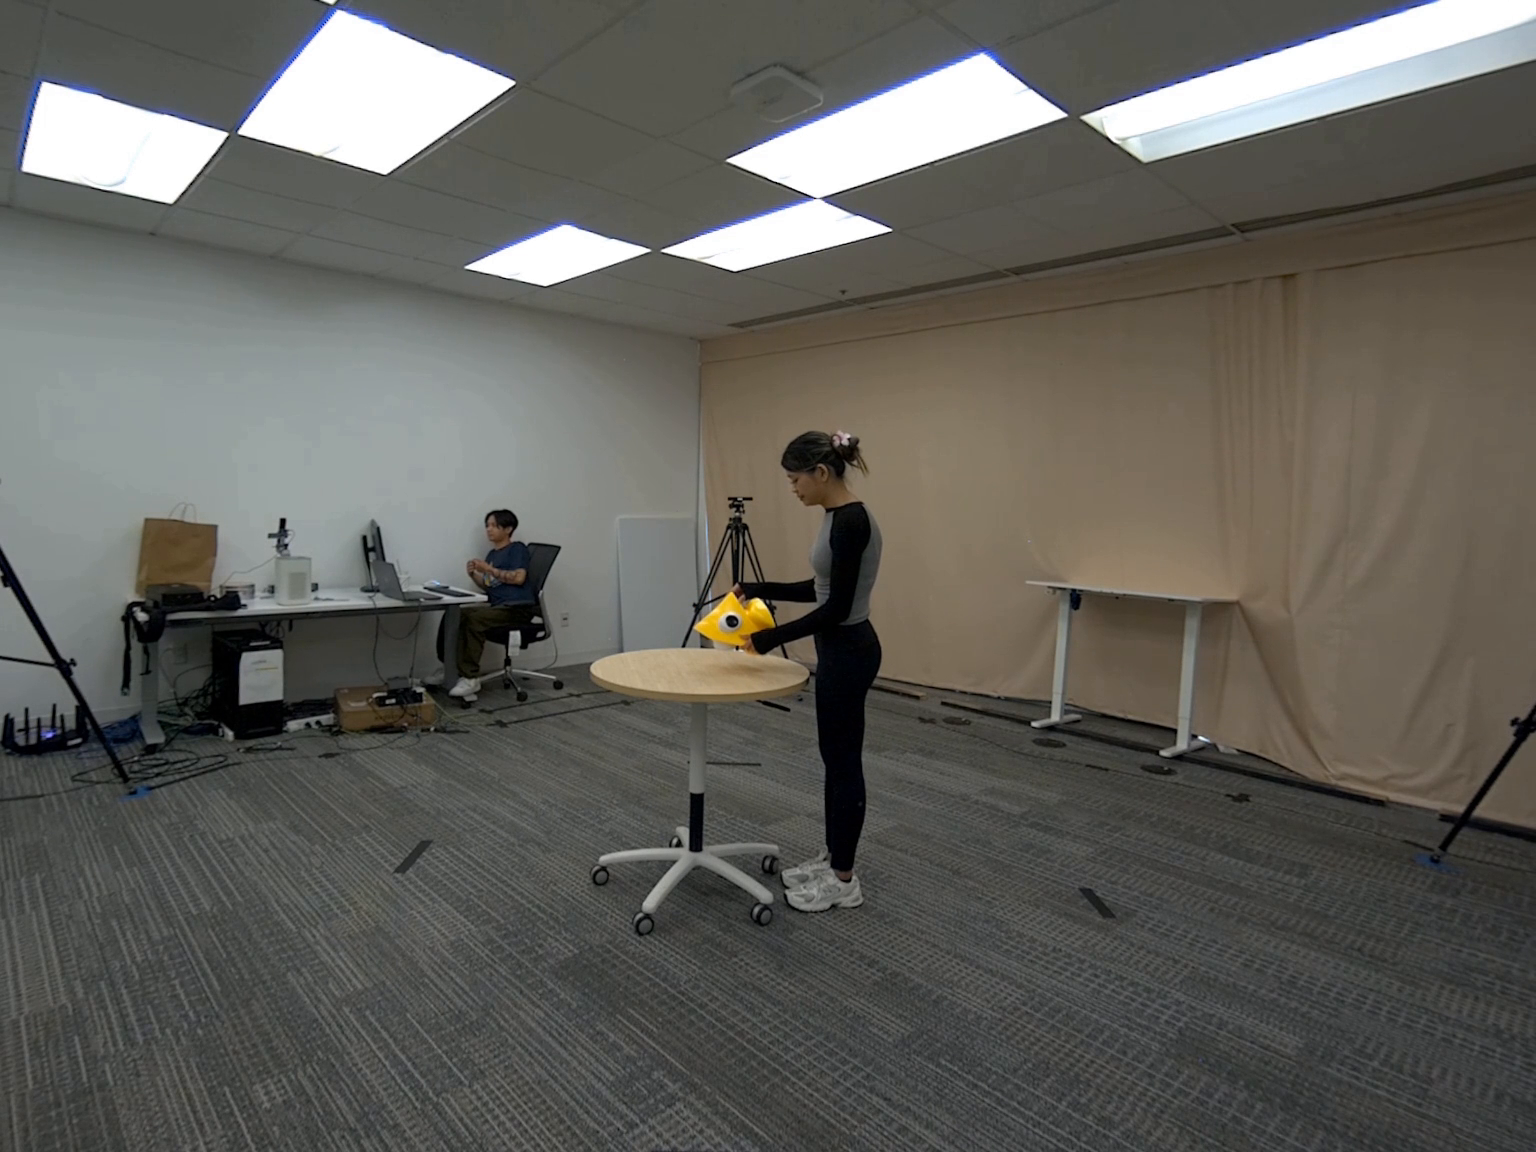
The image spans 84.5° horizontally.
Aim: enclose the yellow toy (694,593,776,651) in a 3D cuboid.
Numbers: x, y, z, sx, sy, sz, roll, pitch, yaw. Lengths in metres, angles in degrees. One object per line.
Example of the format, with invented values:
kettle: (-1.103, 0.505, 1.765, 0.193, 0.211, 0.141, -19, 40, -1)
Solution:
yellow toy: (-0.131, 0.195, 2.933, 0.227, 0.202, 0.199, -12, 43, -32)
